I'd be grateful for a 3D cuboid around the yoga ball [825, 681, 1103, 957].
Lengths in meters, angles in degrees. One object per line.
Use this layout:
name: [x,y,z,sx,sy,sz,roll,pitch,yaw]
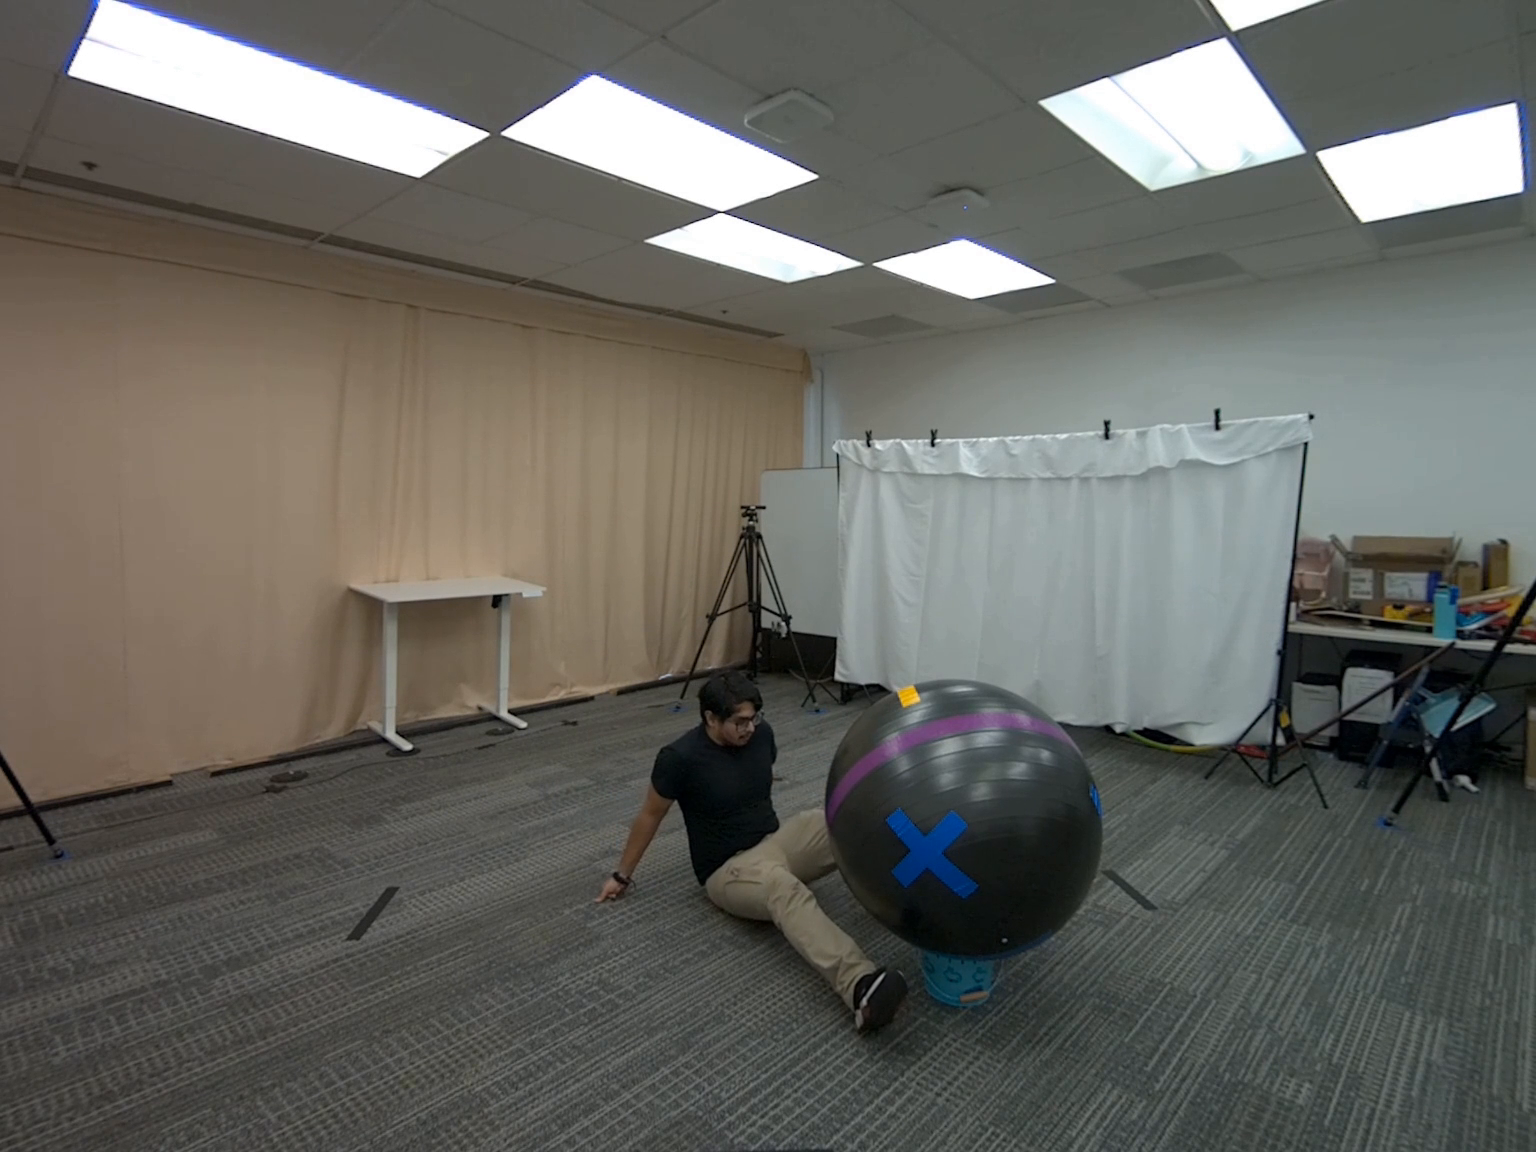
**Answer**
yoga ball: [0.554,0.684,2.404,0.757,0.756,0.760,0,4,-2]
